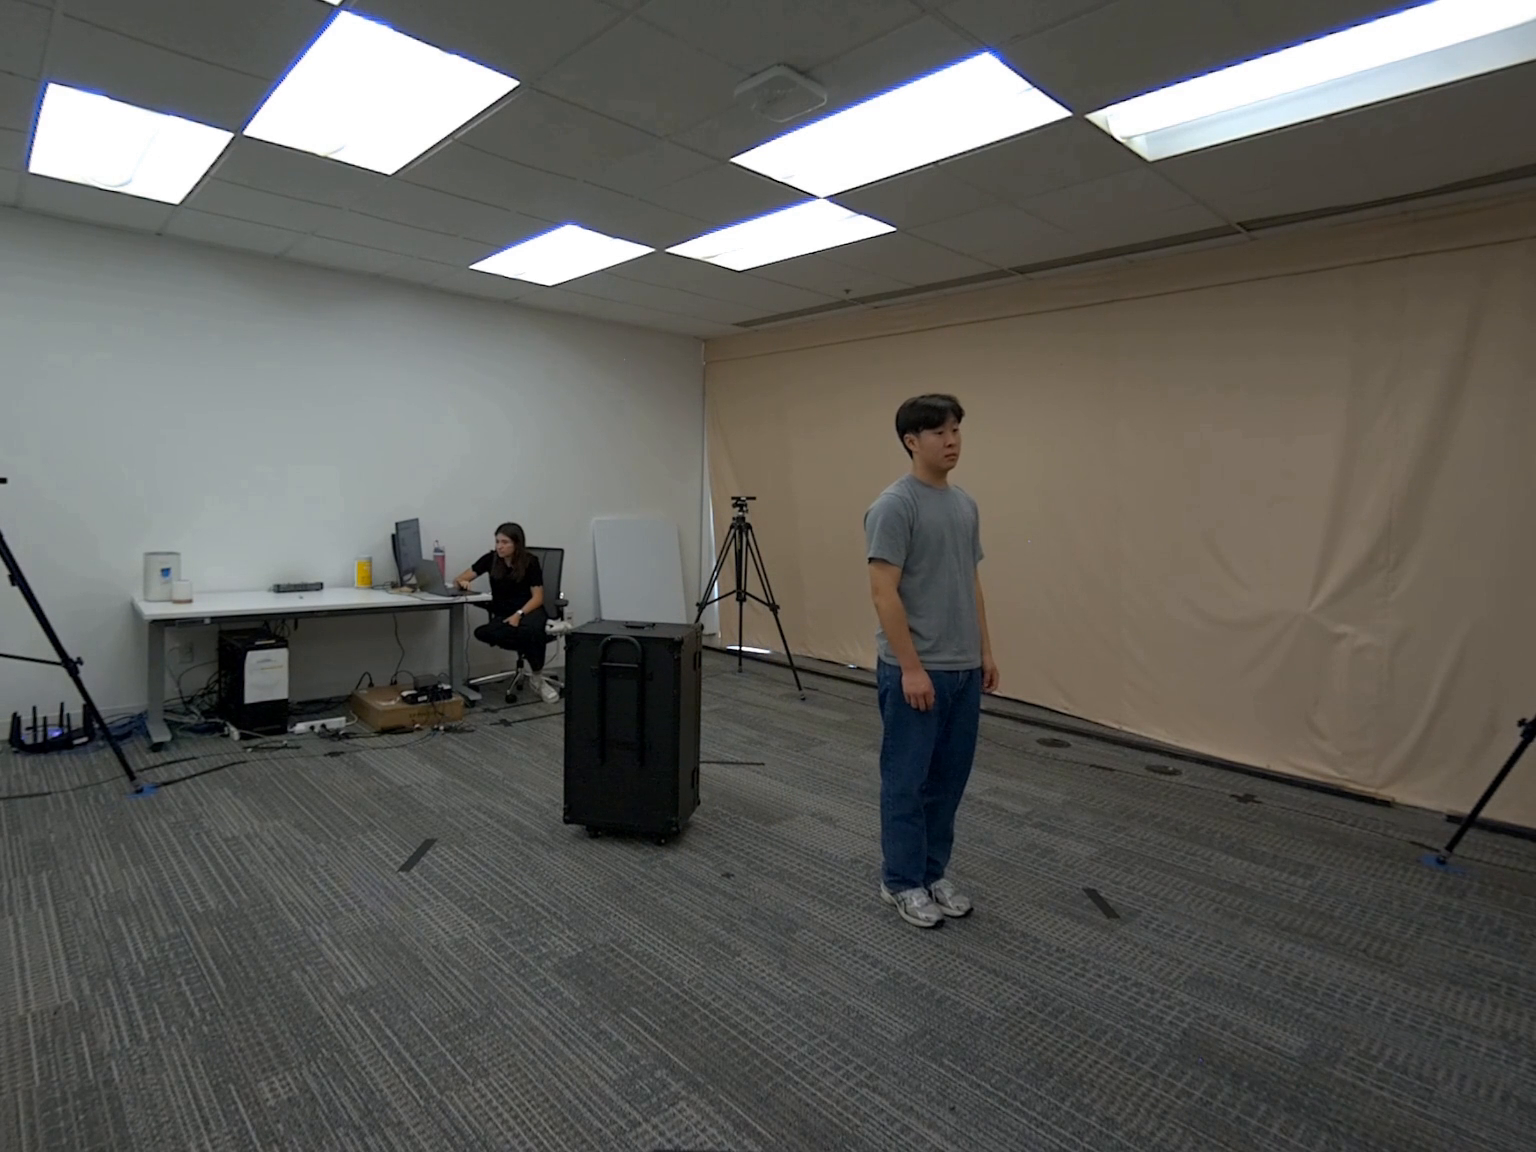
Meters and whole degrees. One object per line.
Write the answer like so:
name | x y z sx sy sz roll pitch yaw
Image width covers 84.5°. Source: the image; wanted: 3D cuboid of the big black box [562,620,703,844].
big black box | -0.554 0.636 3.474 0.526 0.858 0.394 3 5 11
